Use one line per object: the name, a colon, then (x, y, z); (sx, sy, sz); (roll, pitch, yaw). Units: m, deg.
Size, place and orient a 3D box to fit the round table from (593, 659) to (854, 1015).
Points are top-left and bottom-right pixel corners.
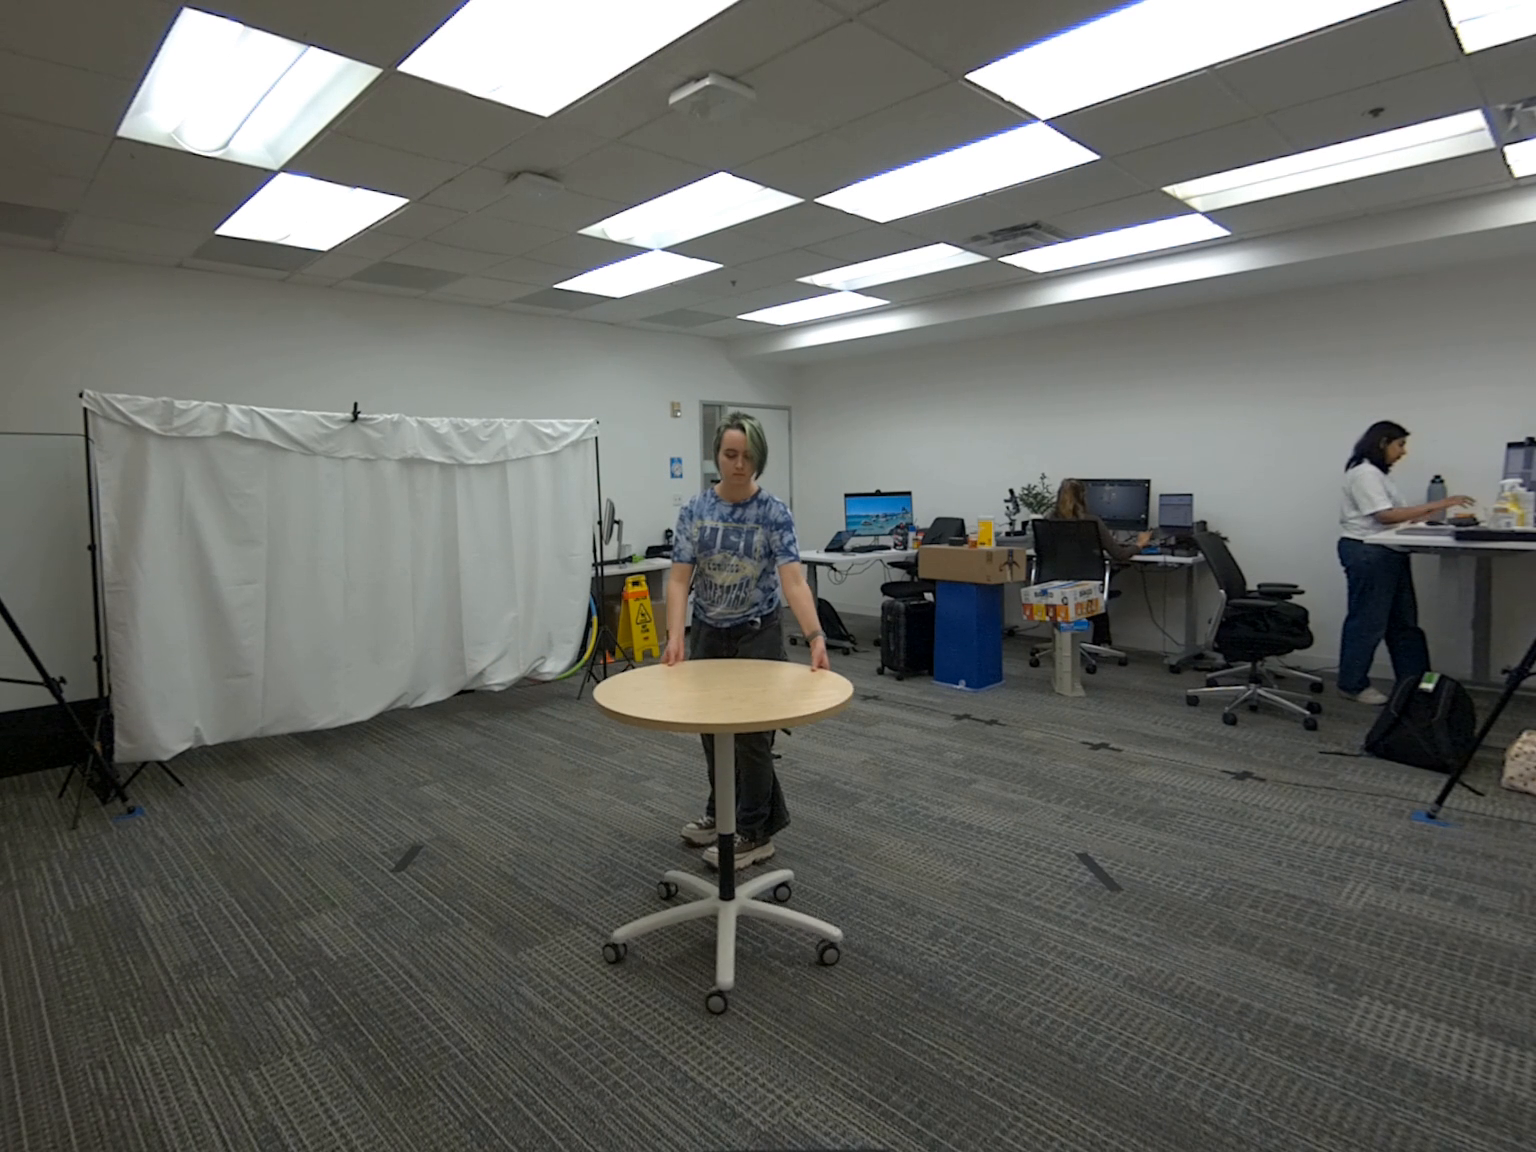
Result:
round table: (-0.130, 0.725, 2.566); (0.763, 0.790, 0.768); (-1, 5, -2)
